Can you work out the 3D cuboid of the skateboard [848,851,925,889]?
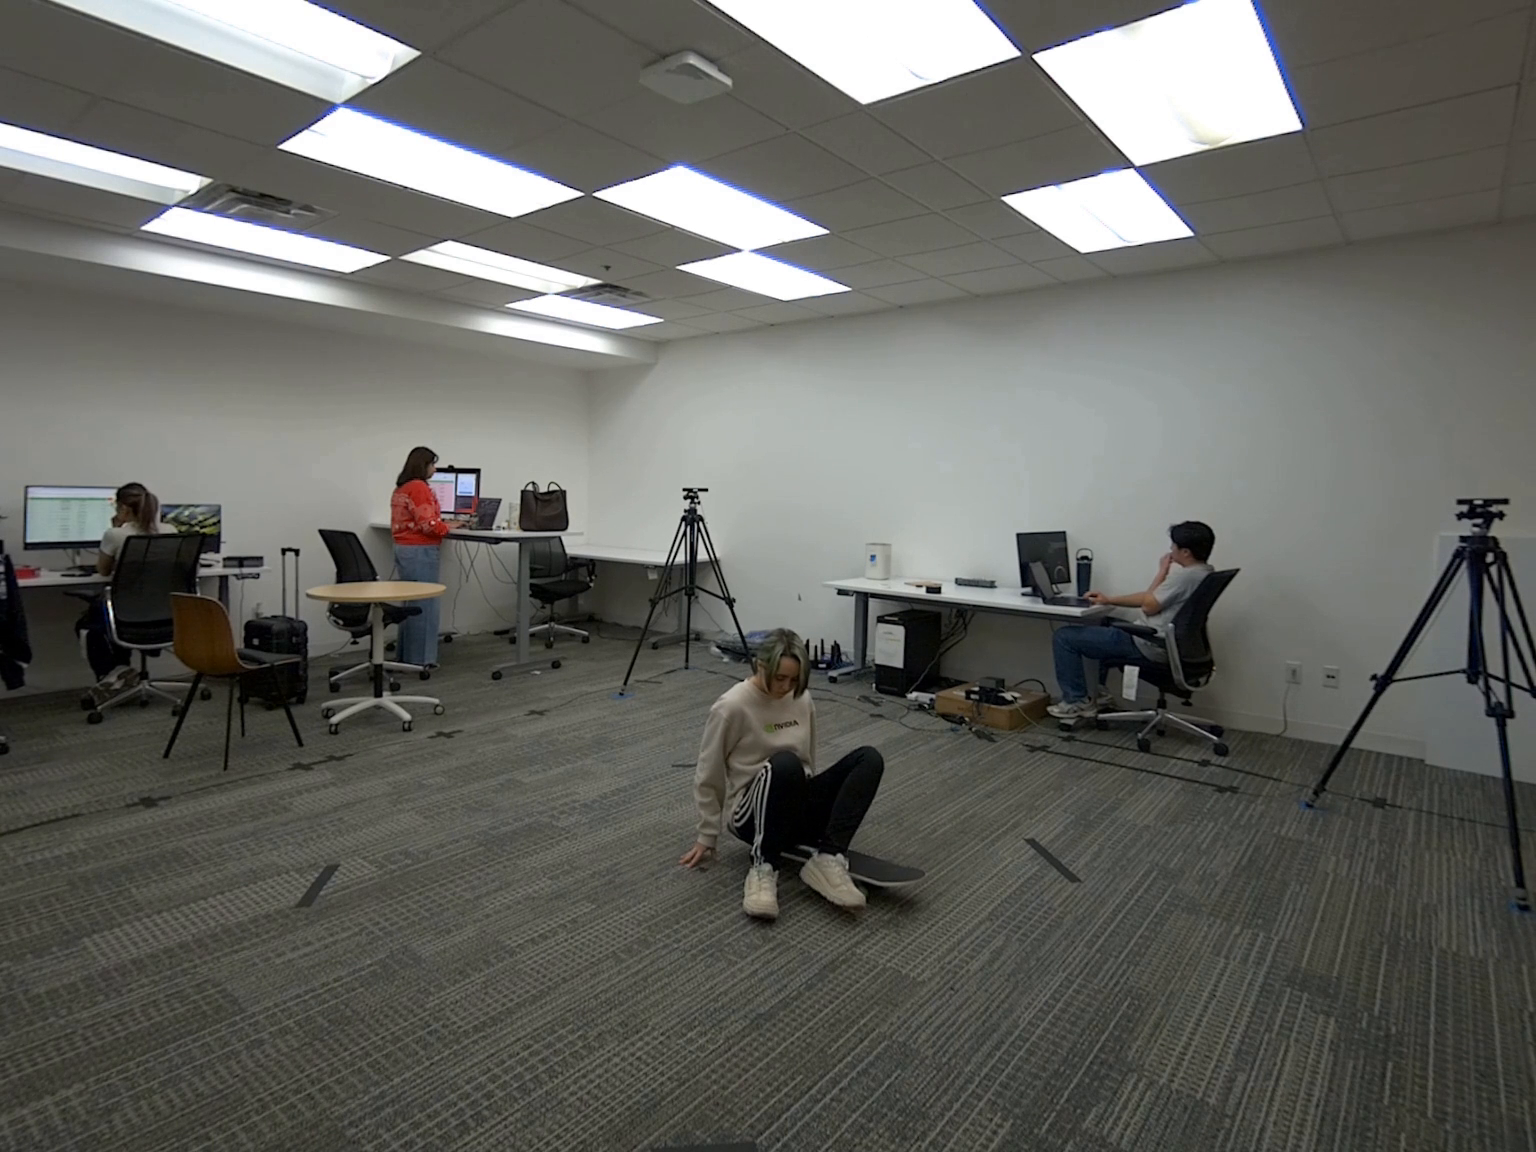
[{"bbox_3d":[0.166,1.020,3.064,0.810,0.110,0.187,4,3,35],"label":"skateboard"}]
